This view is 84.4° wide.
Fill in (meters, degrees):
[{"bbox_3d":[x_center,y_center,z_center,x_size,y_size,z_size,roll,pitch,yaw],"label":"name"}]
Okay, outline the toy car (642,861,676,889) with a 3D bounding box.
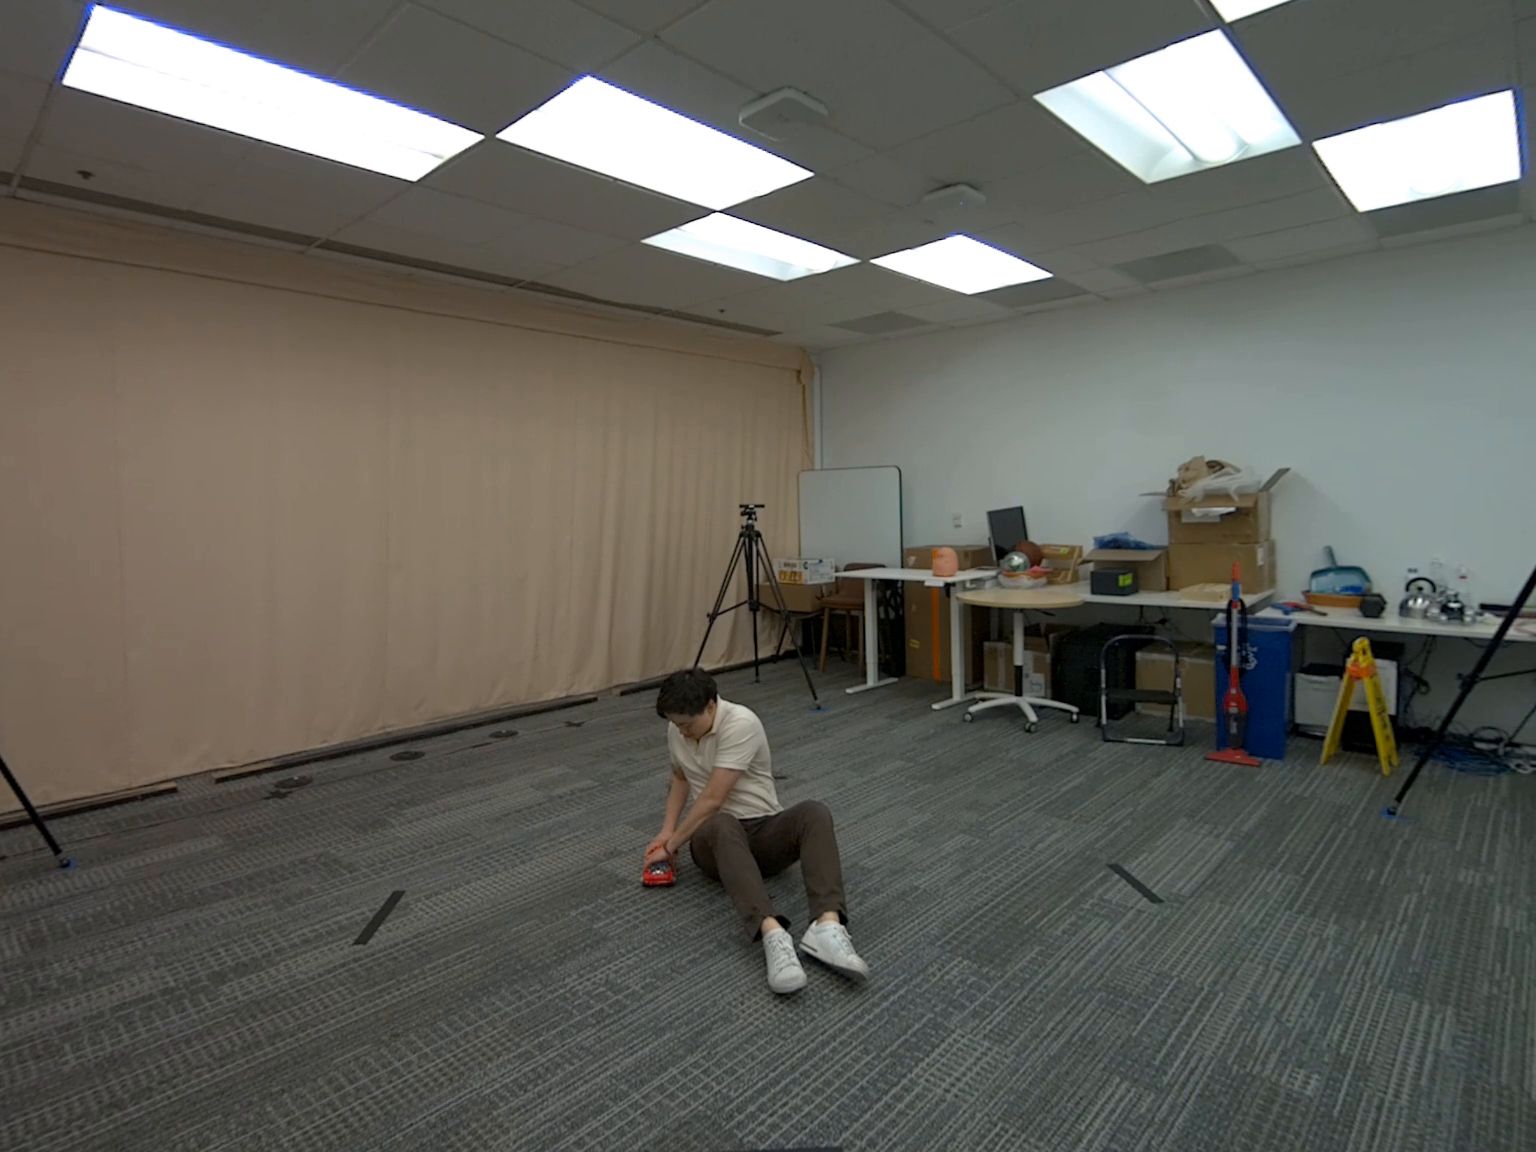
[{"bbox_3d":[-0.411,1.095,3.192,0.130,0.082,0.258,-2,14,-6],"label":"toy car"}]
